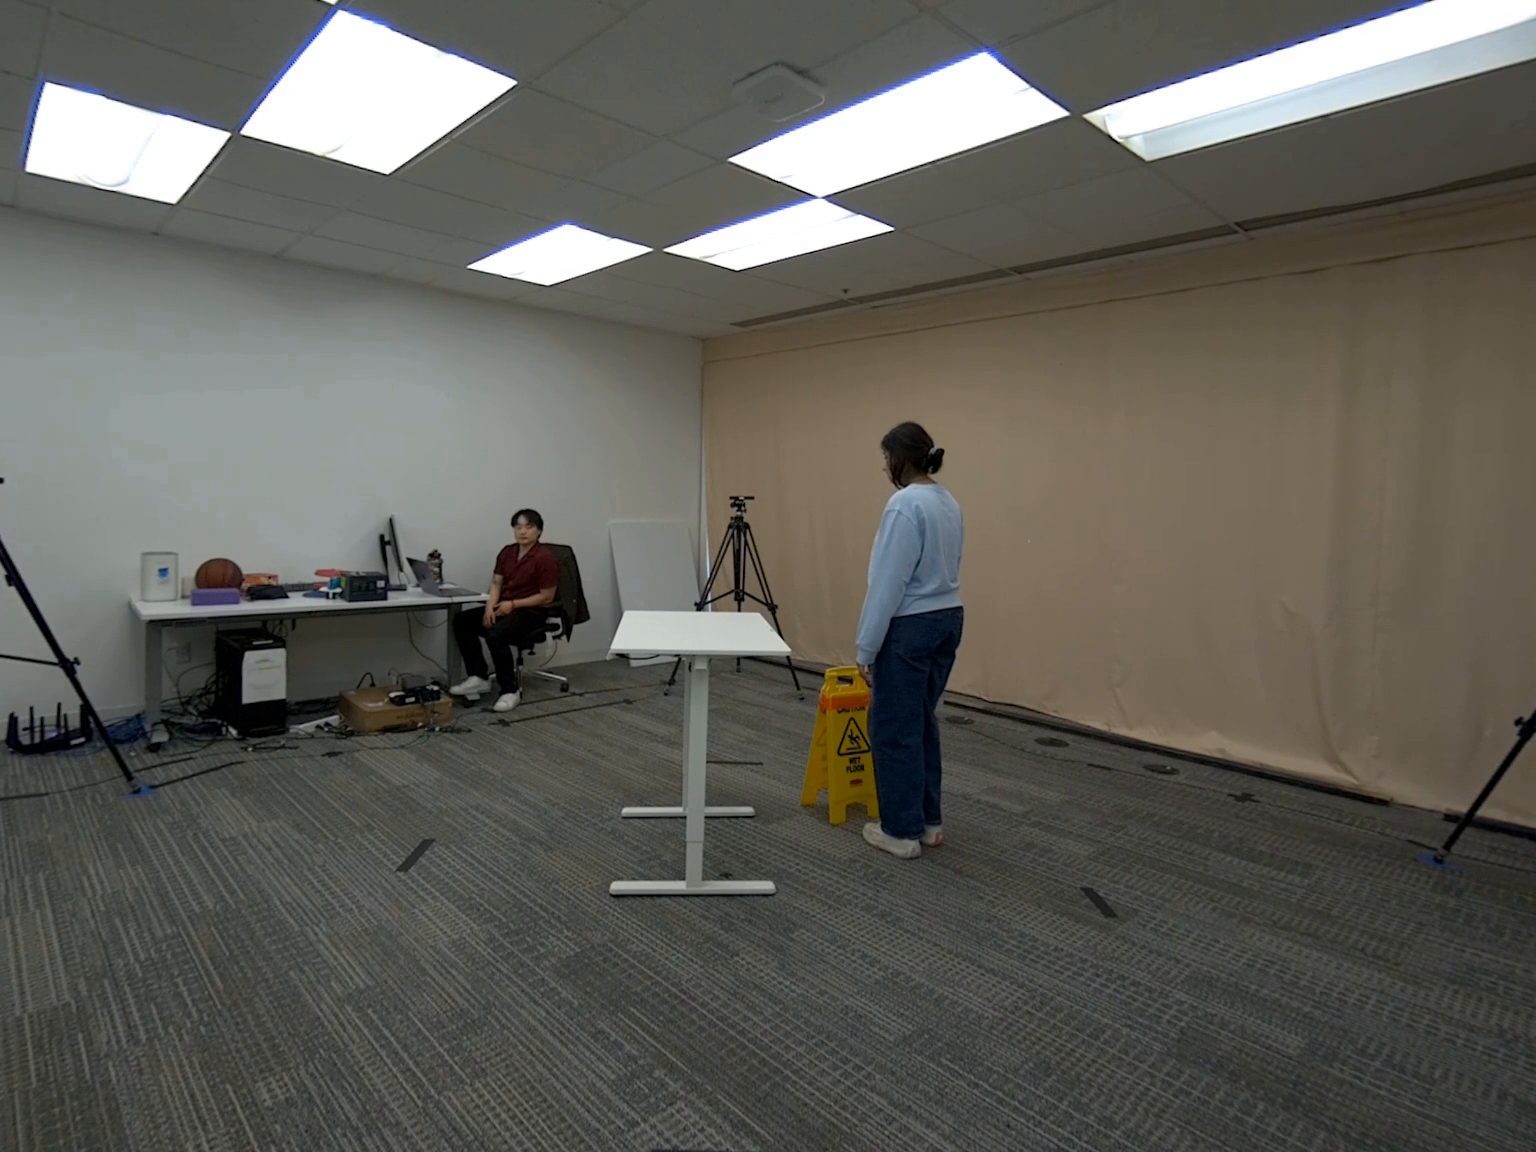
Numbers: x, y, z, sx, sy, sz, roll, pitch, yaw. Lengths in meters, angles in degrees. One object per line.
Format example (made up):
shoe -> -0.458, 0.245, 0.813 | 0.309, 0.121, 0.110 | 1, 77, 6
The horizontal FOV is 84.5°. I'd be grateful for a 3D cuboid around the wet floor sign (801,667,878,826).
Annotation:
wet floor sign -> 0.331, 0.734, 3.779 | 0.277, 0.645, 0.296 | 1, 2, -27
